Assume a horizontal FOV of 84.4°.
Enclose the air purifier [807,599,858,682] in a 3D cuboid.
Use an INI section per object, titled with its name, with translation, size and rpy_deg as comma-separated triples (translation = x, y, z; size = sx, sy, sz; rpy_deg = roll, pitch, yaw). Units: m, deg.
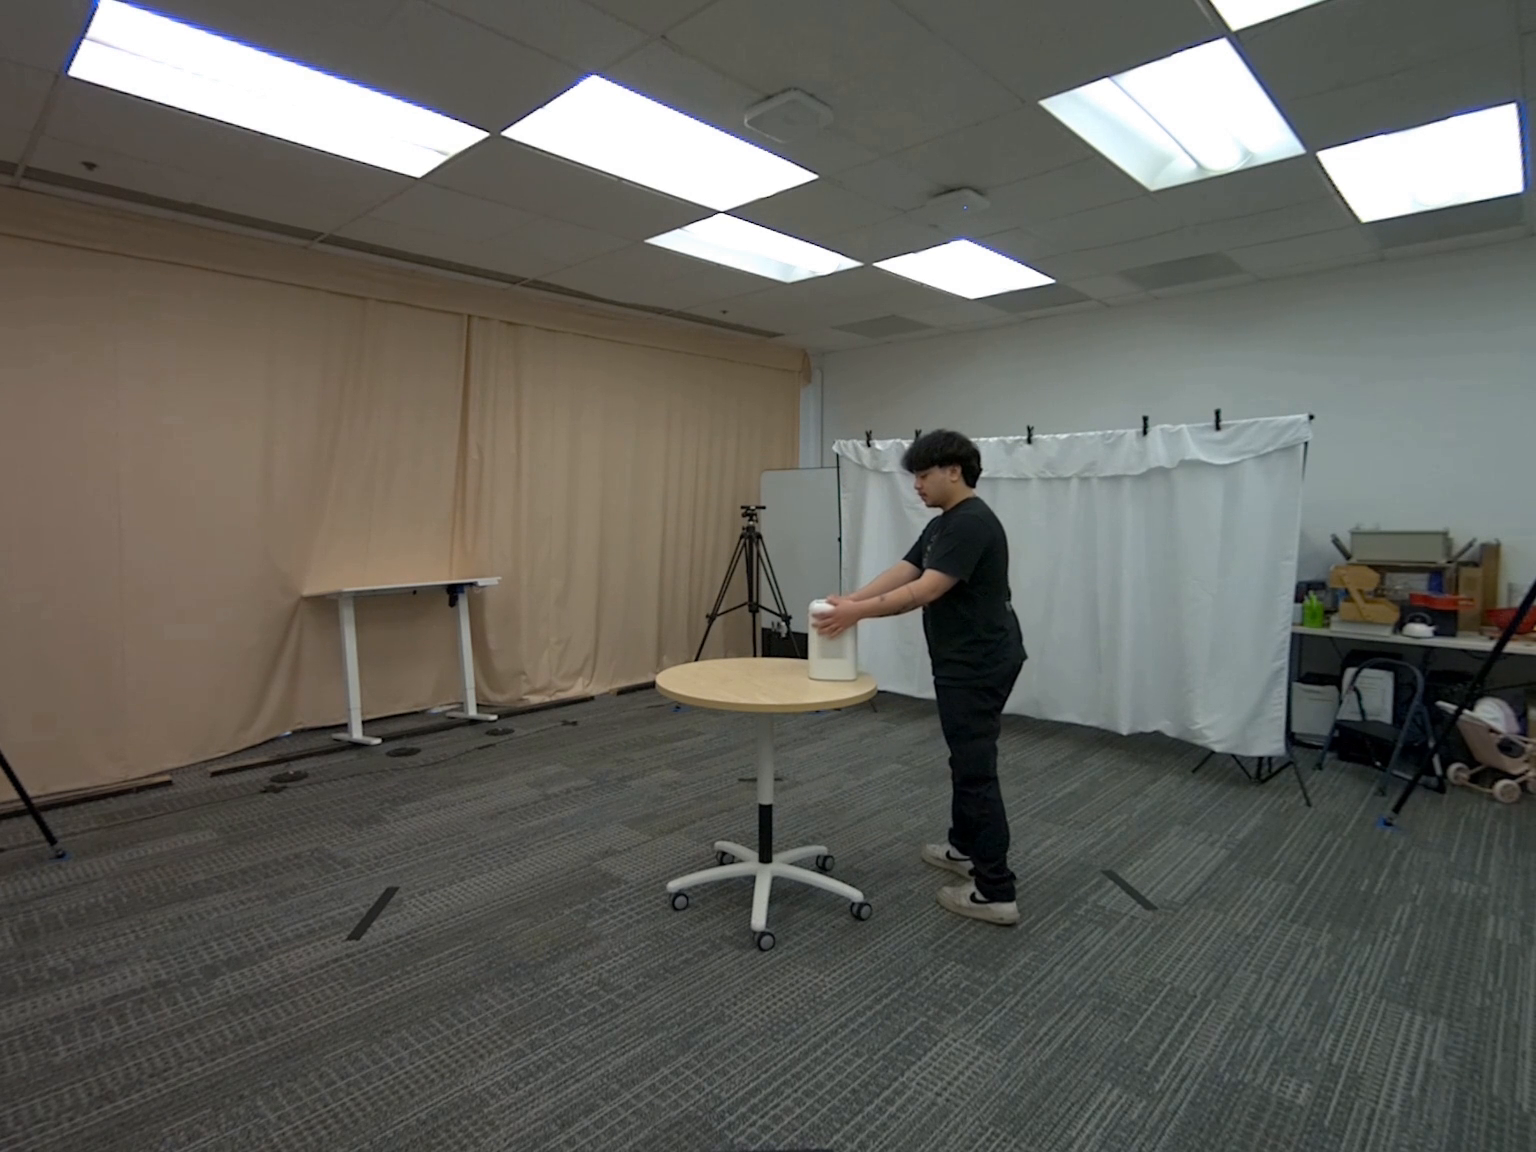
[air purifier]
translation = 0.236, 0.226, 2.958
size = 0.173, 0.265, 0.170
rpy_deg = 1, 3, 8
